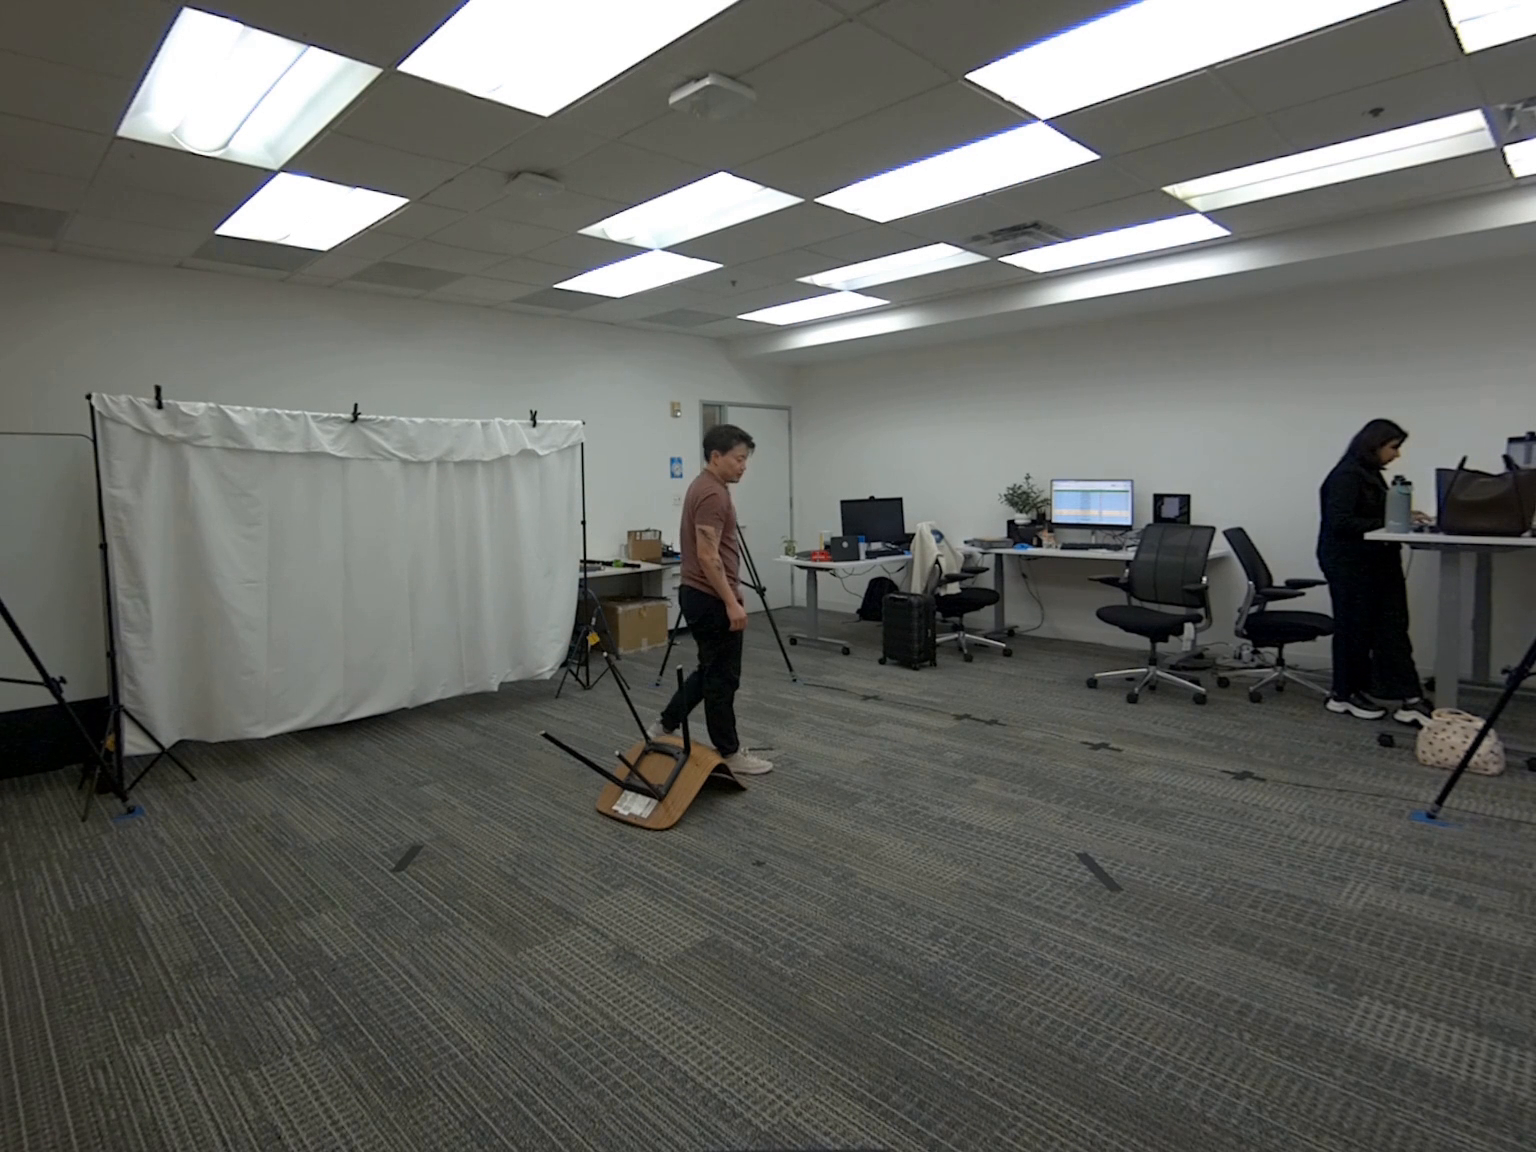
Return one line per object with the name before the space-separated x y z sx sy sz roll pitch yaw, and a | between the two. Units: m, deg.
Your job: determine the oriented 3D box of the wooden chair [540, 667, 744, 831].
wooden chair | -0.487 0.826 3.651 0.492 0.847 0.526 2 46 37
